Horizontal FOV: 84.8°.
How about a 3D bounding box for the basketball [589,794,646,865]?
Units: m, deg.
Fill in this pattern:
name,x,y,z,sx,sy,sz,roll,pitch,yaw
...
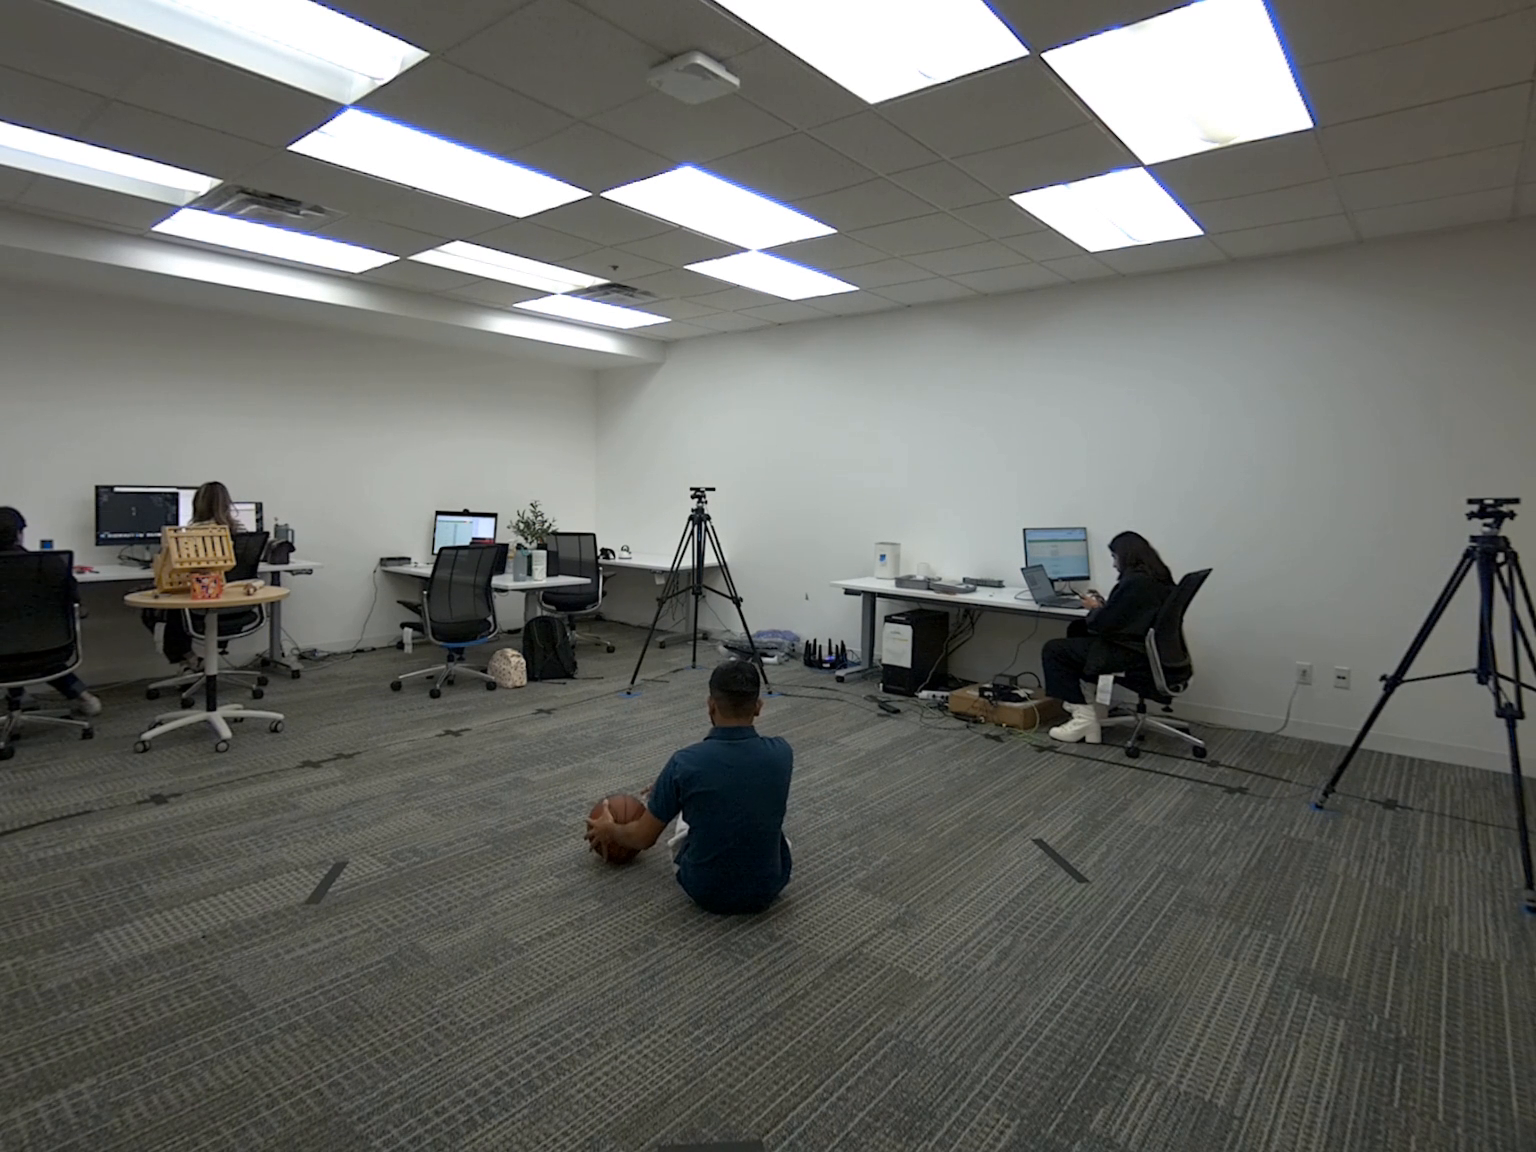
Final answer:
name,x,y,z,sx,sy,sz,roll,pitch,yaw
basketball,-0.559,0.927,3.181,0.235,0.235,0.237,1,4,-2
